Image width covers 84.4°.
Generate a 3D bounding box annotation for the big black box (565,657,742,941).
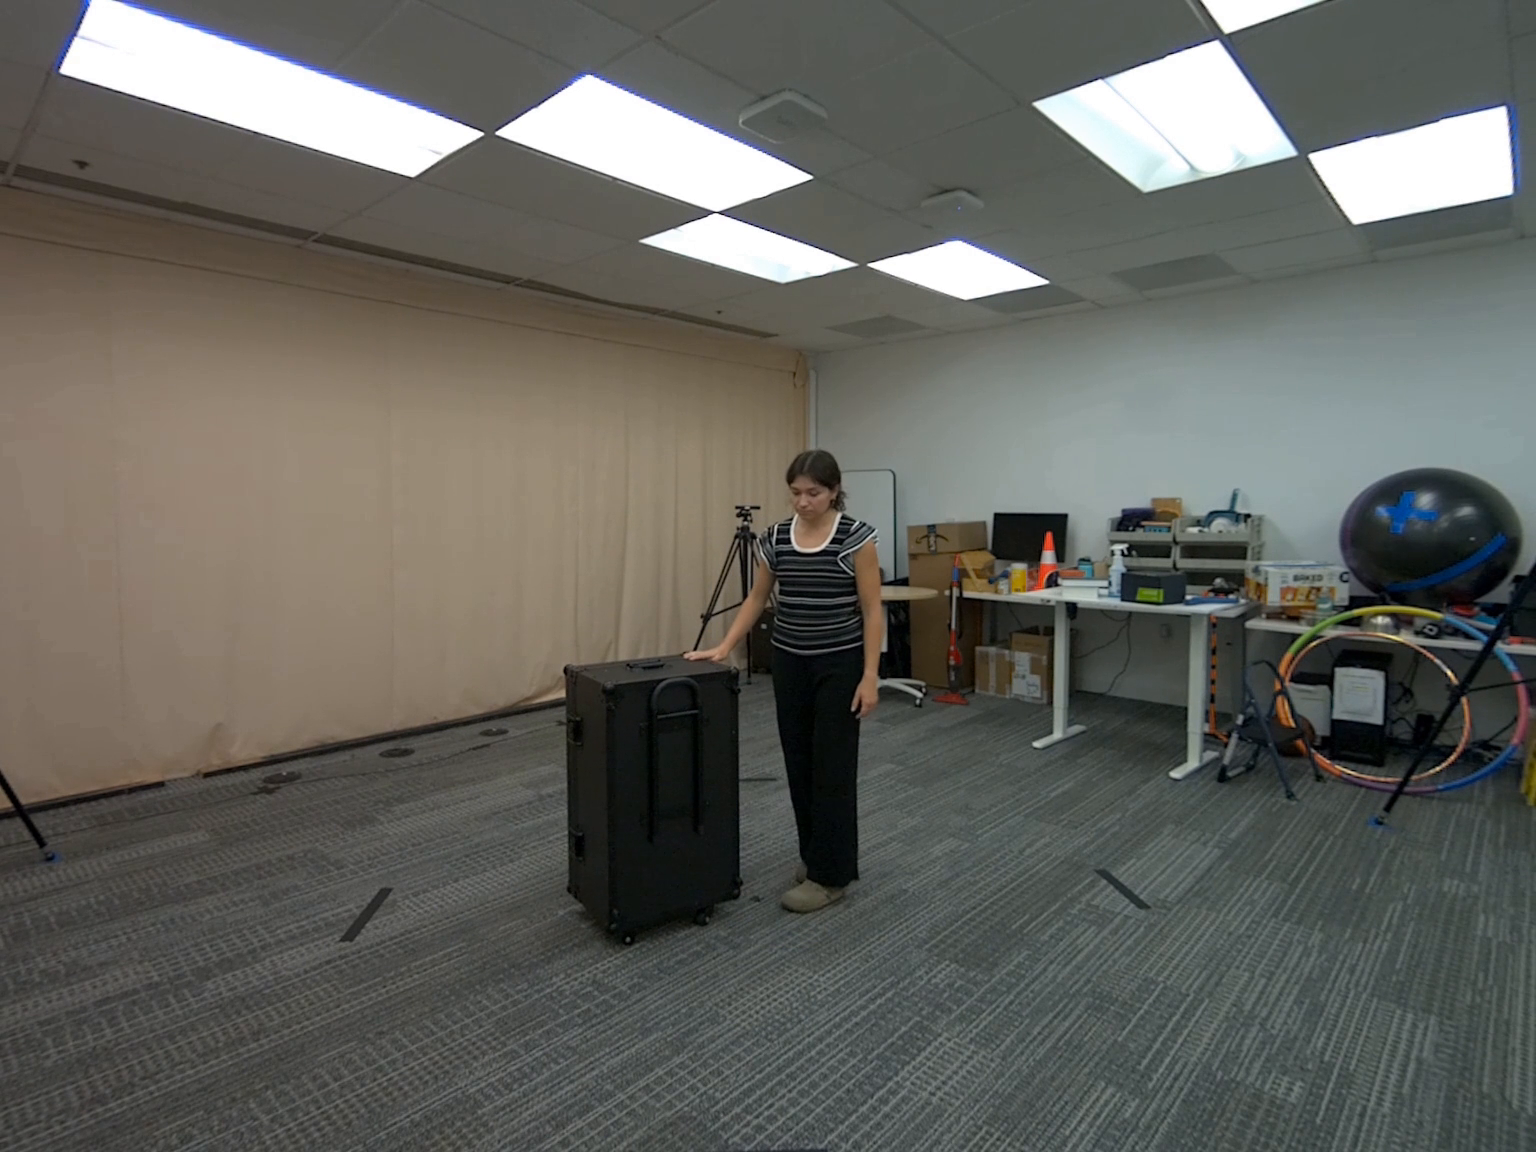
[{"bbox_3d":[-0.379,0.734,2.842,0.507,0.859,0.408,-2,4,-31],"label":"big black box"}]
